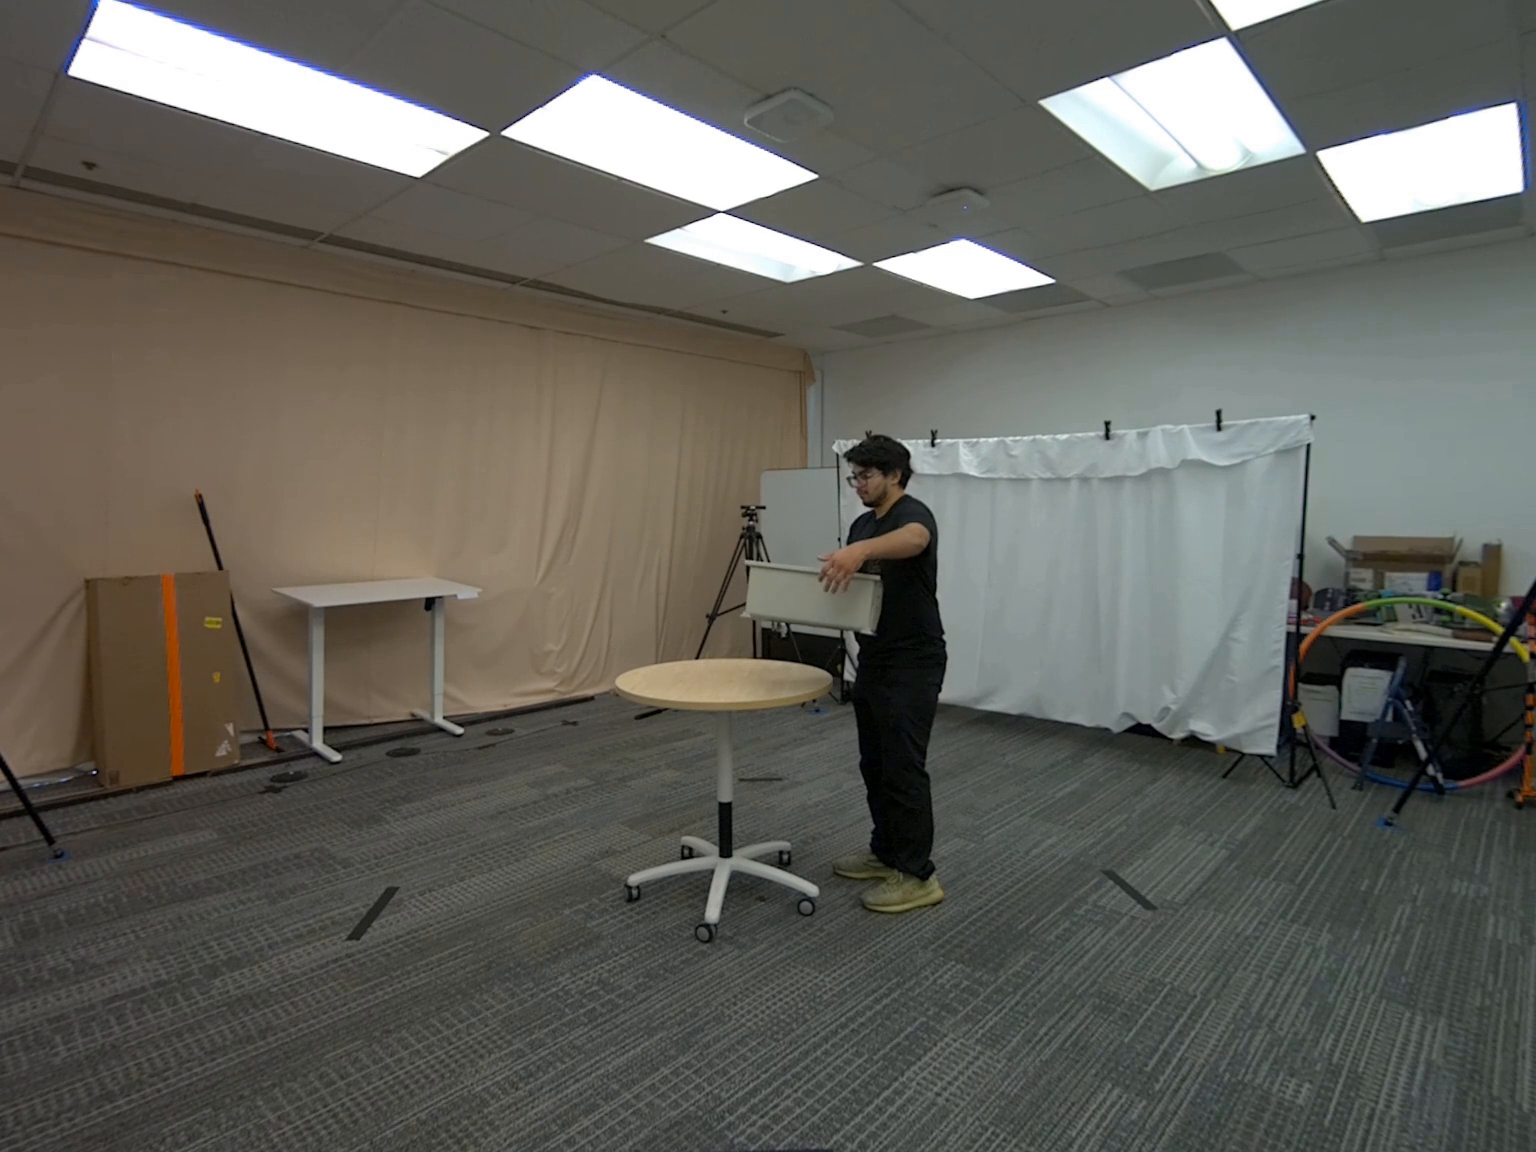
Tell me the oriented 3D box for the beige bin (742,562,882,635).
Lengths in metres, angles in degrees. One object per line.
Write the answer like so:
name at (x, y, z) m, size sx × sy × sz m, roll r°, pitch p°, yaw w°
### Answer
beige bin at (0.157, 0.075, 2.784) m, size 0.429 × 0.189 × 0.371 m, roll 6°, pitch -3°, yaw 13°
